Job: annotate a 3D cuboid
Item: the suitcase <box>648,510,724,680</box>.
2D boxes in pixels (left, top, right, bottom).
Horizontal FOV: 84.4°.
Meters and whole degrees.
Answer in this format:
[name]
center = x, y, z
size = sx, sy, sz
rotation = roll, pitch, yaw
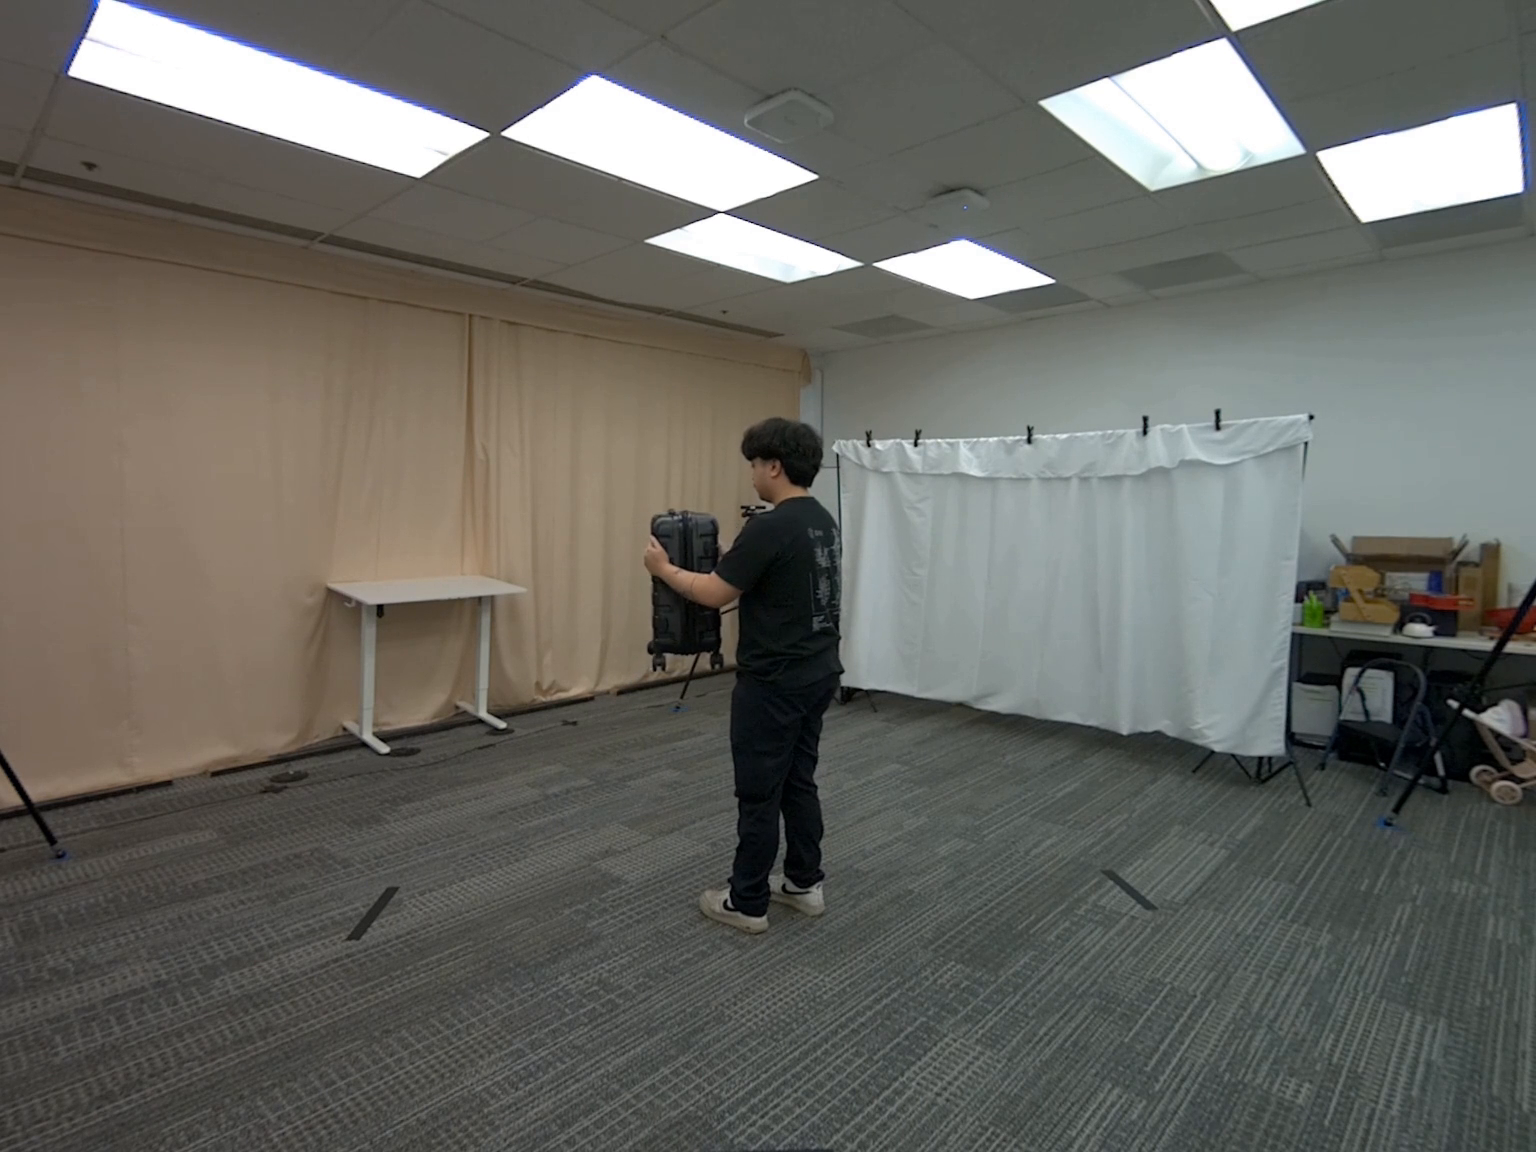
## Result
[suitcase]
center = -0.300, 0.034, 3.060
size = 0.247, 0.548, 0.378
rotation = -2, 3, -7
